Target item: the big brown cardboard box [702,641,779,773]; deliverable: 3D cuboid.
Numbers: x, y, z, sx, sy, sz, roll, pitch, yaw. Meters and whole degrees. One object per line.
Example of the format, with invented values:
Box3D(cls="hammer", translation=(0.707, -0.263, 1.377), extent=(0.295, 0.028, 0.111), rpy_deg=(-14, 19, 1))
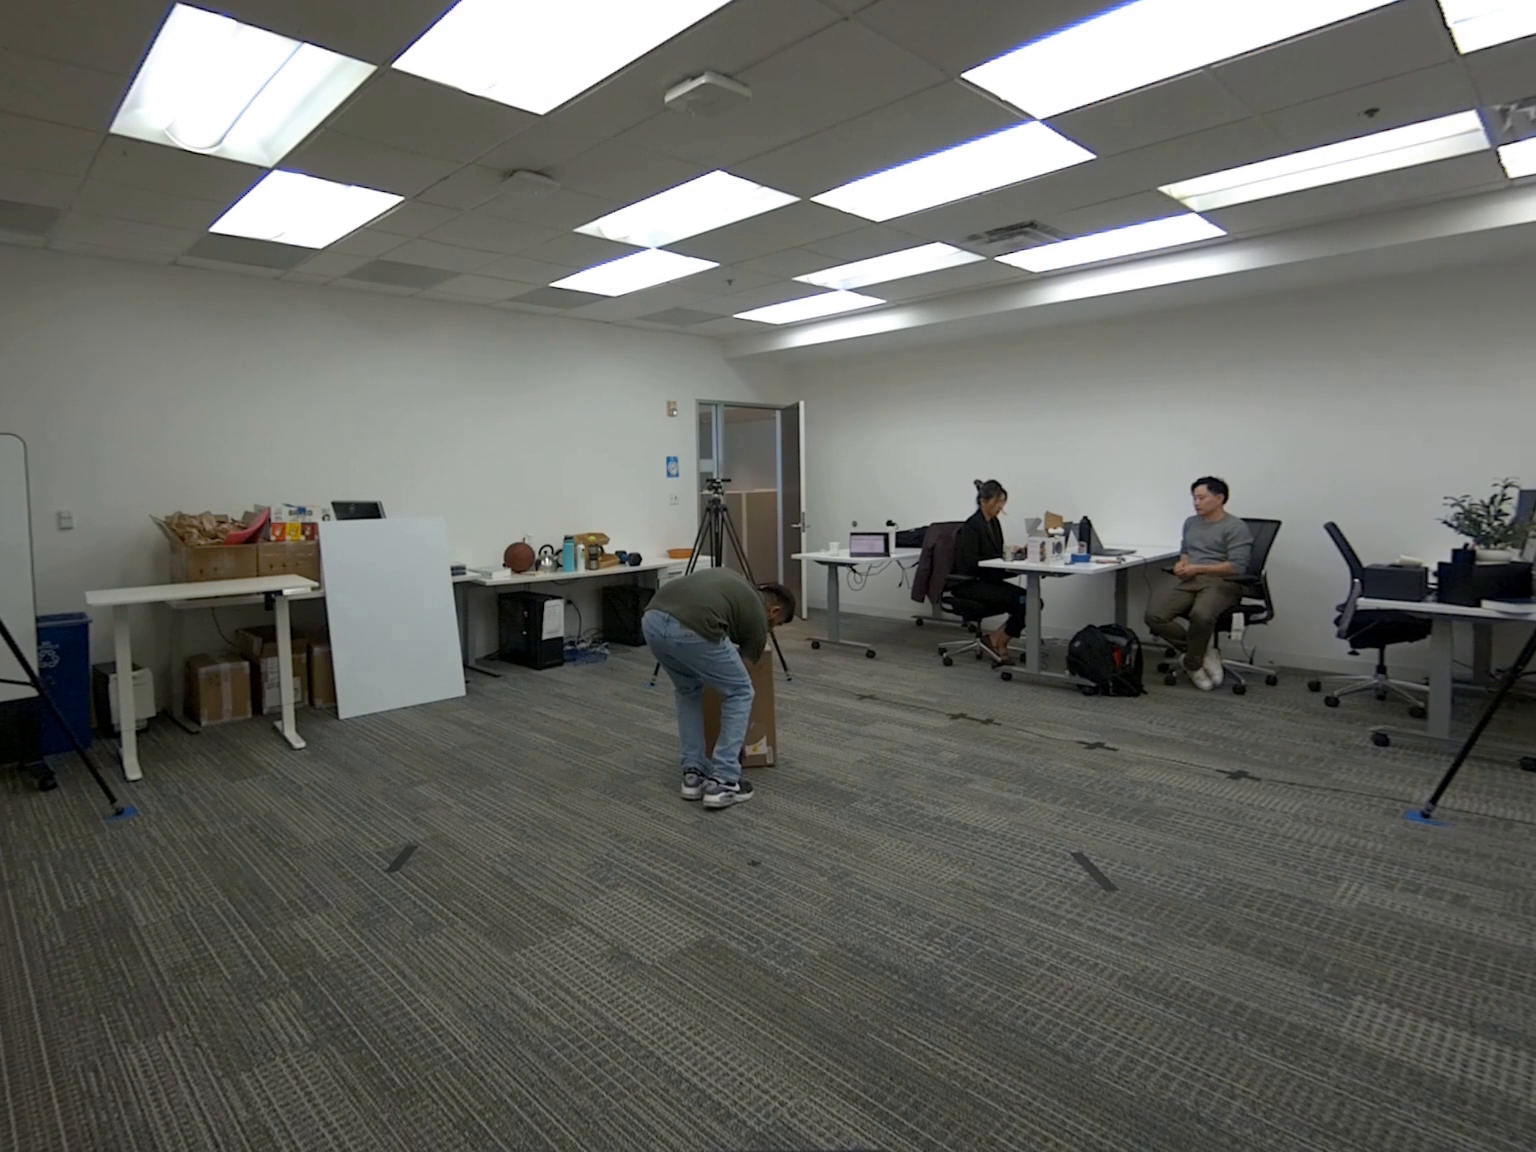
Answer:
Box3D(cls="big brown cardboard box", translation=(-0.185, 0.642, 4.235), extent=(0.416, 0.588, 0.234), rpy_deg=(-2, 1, -4))
